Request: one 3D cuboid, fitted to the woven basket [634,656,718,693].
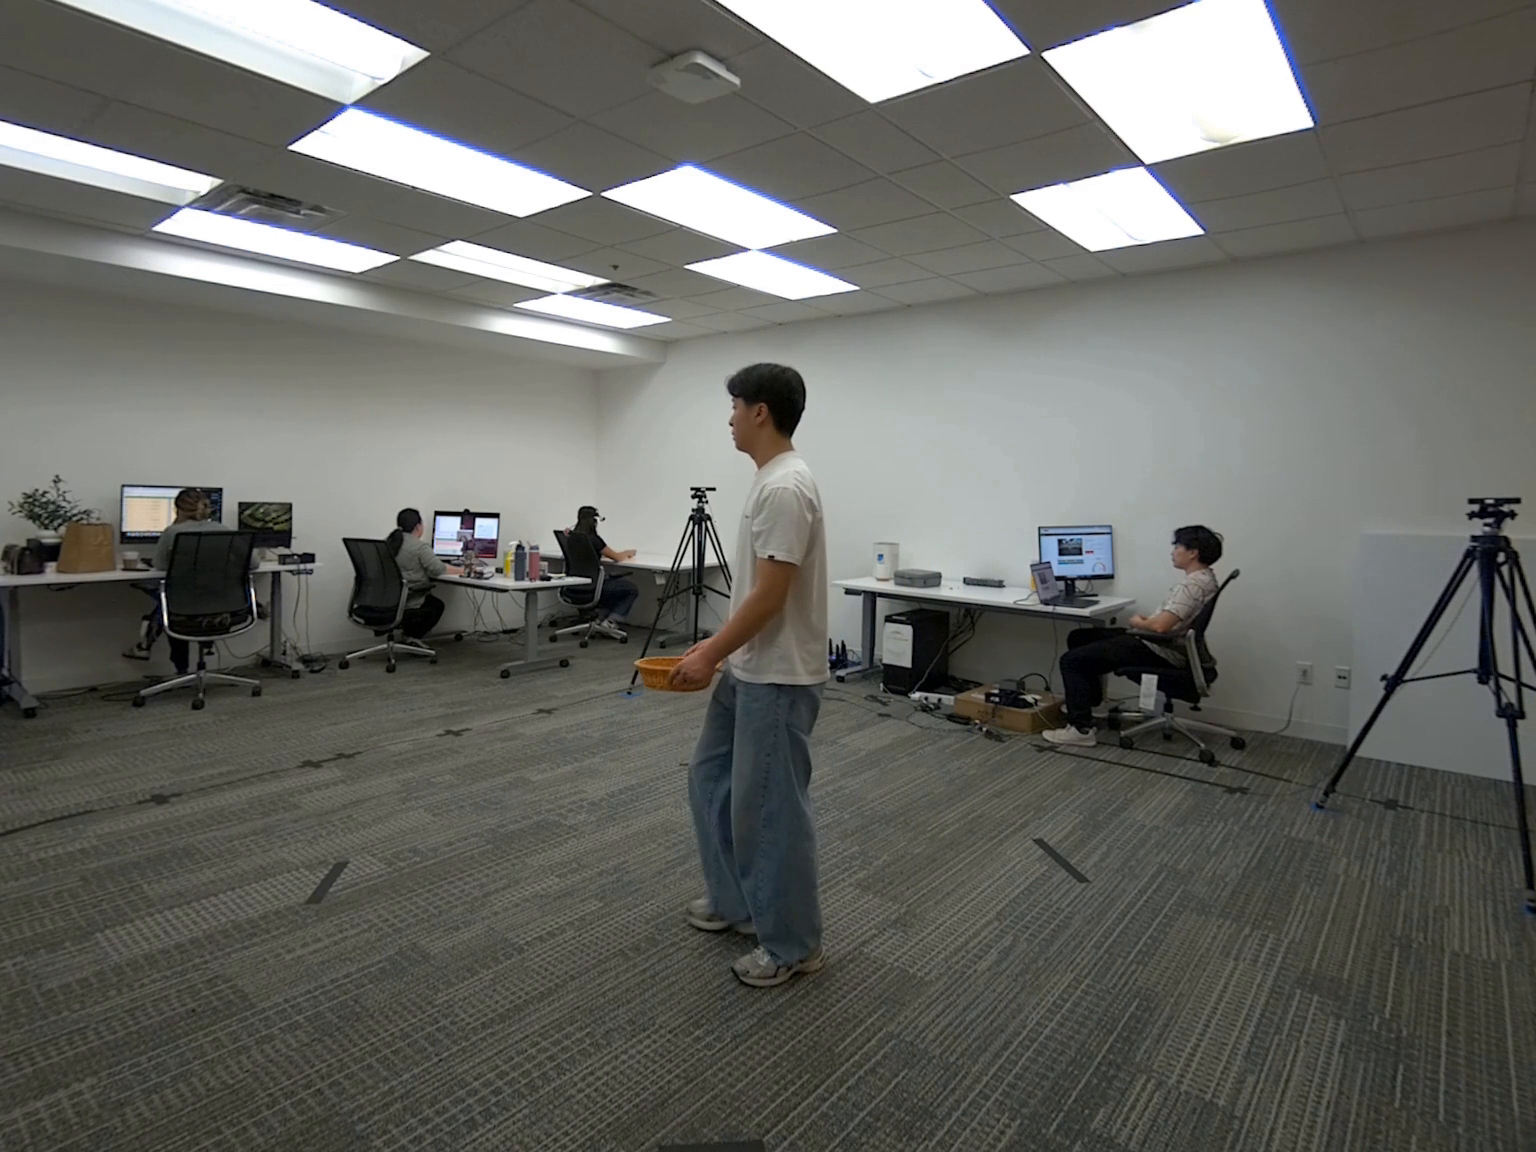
[{"bbox_3d":[-0.269,0.300,2.567,0.256,0.073,0.344,2,0,13],"label":"woven basket"}]
